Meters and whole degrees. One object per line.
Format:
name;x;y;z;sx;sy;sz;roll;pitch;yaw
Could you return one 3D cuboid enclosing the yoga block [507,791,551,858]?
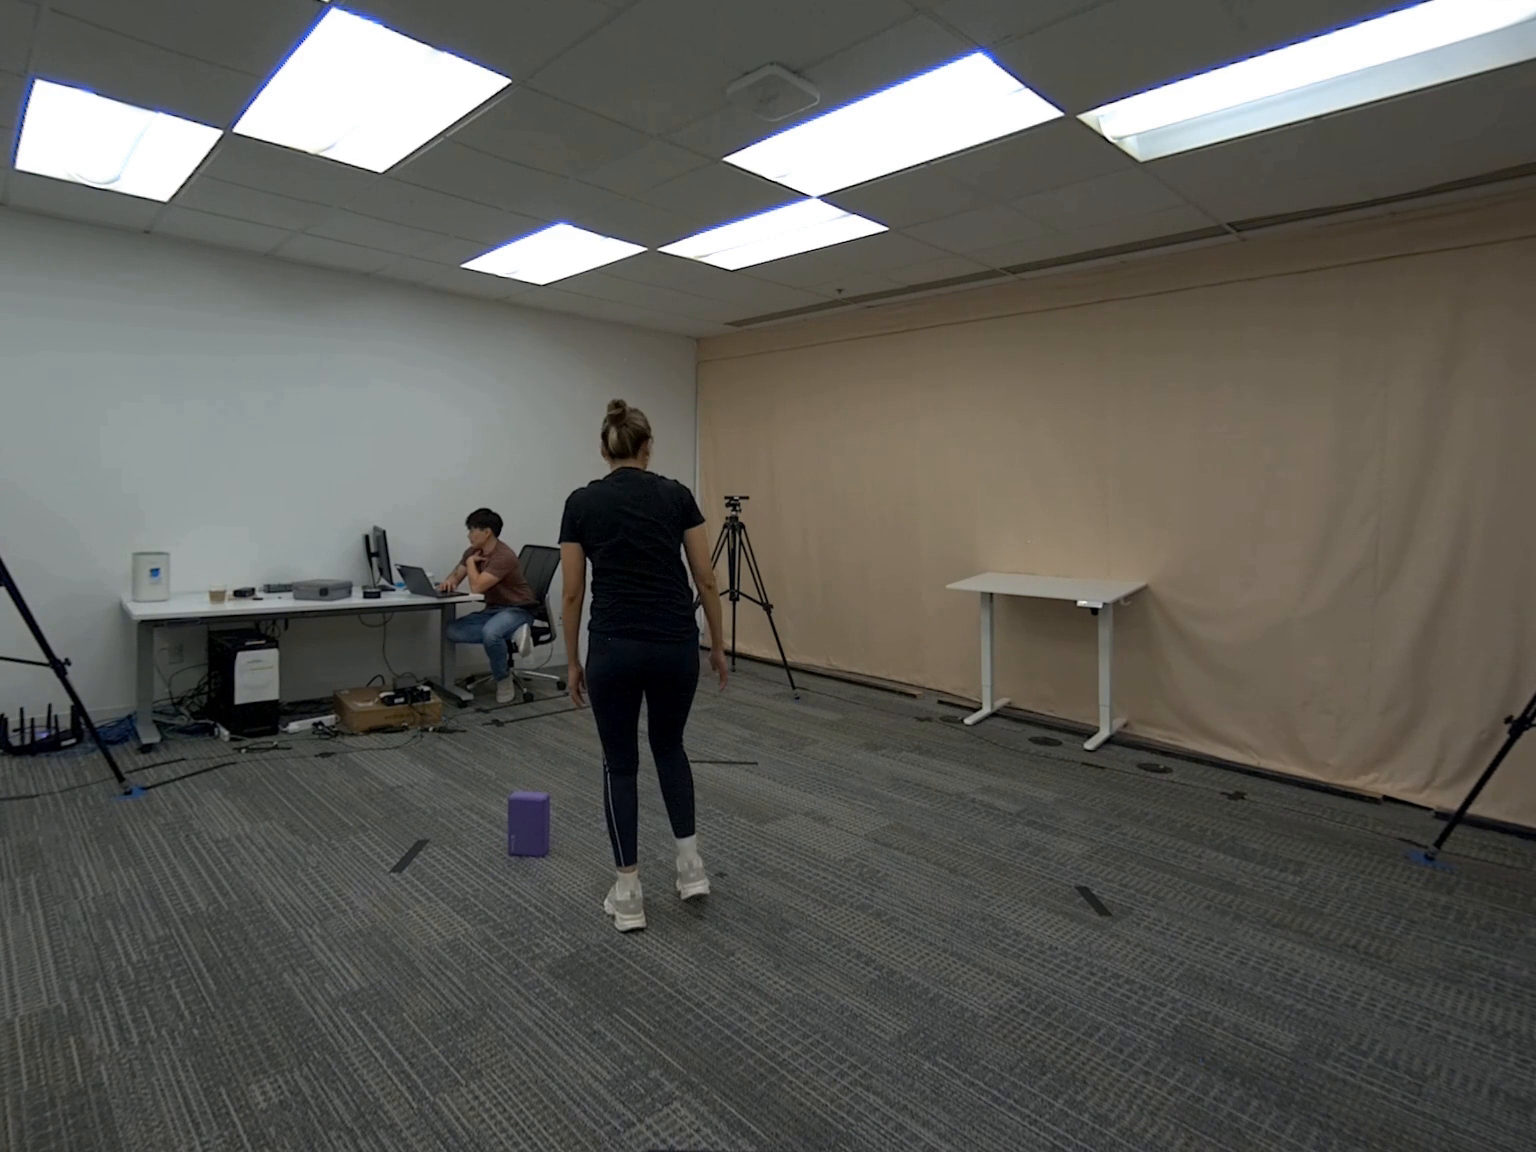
yoga block;-0.933;0.960;3.252;0.150;0.228;0.076;3;4;8
